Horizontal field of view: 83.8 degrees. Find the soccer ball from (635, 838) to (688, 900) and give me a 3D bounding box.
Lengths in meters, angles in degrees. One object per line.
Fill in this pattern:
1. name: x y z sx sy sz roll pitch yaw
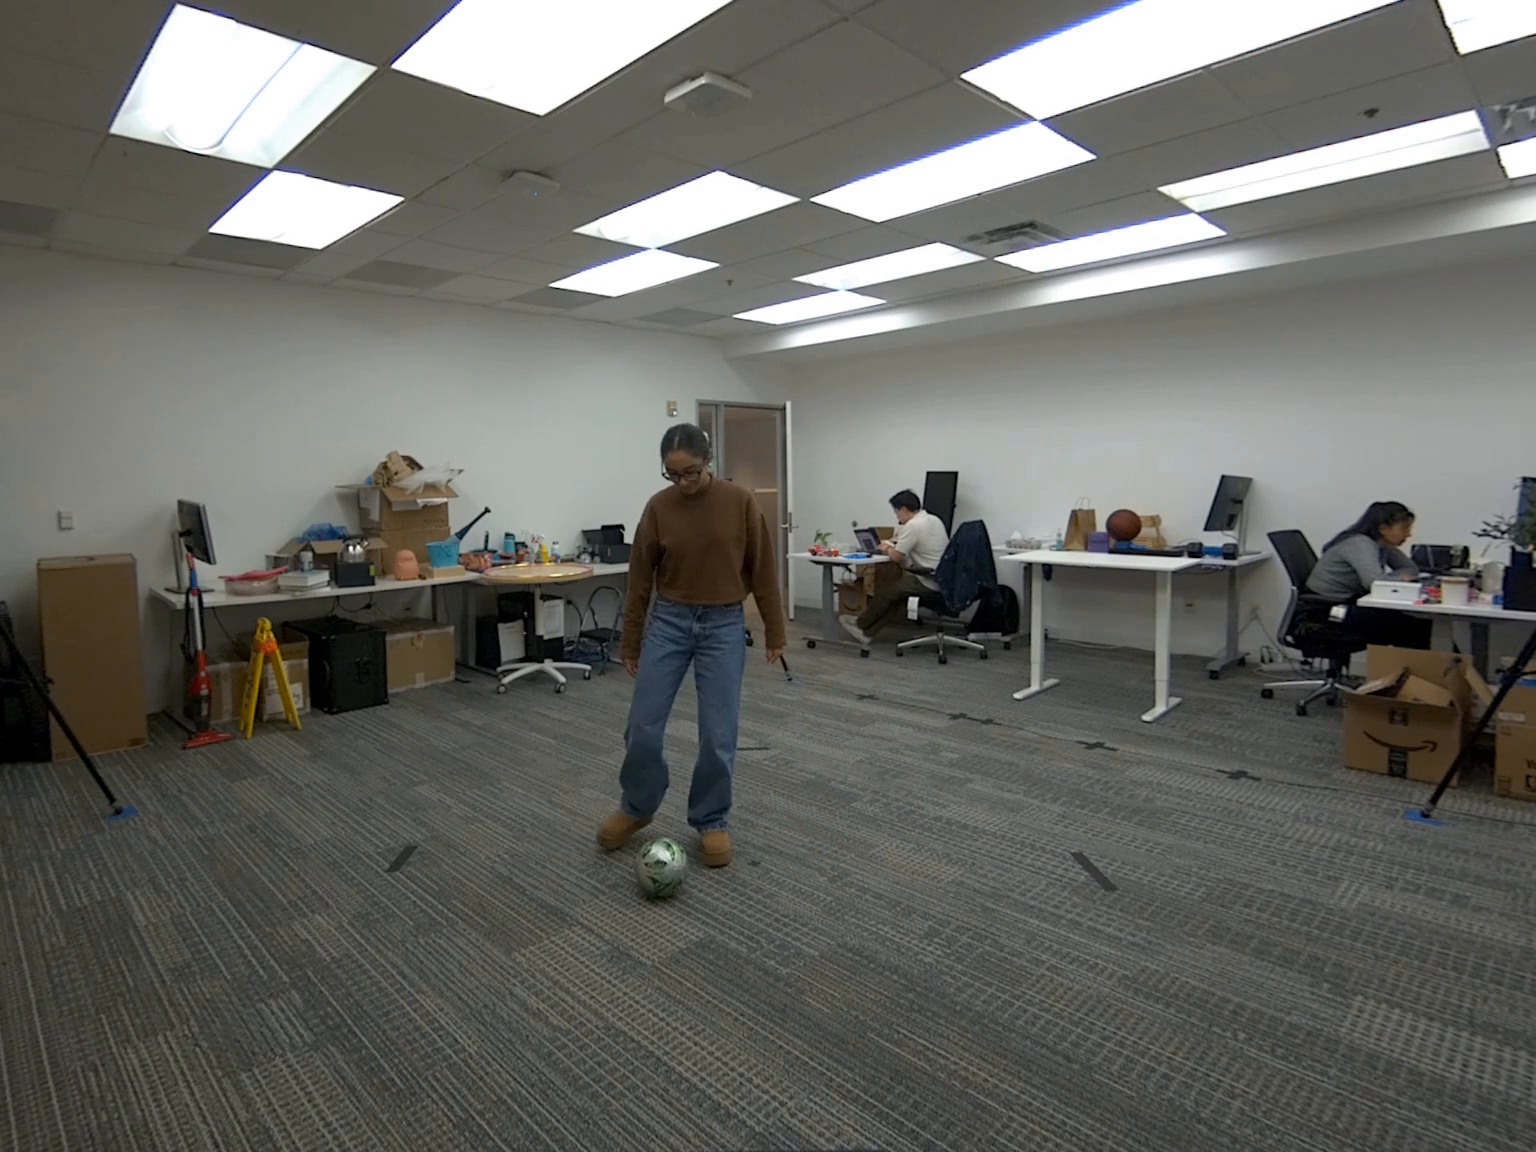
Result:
1. soccer ball: -0.354 0.982 2.877 0.187 0.187 0.188 -1 5 -2
